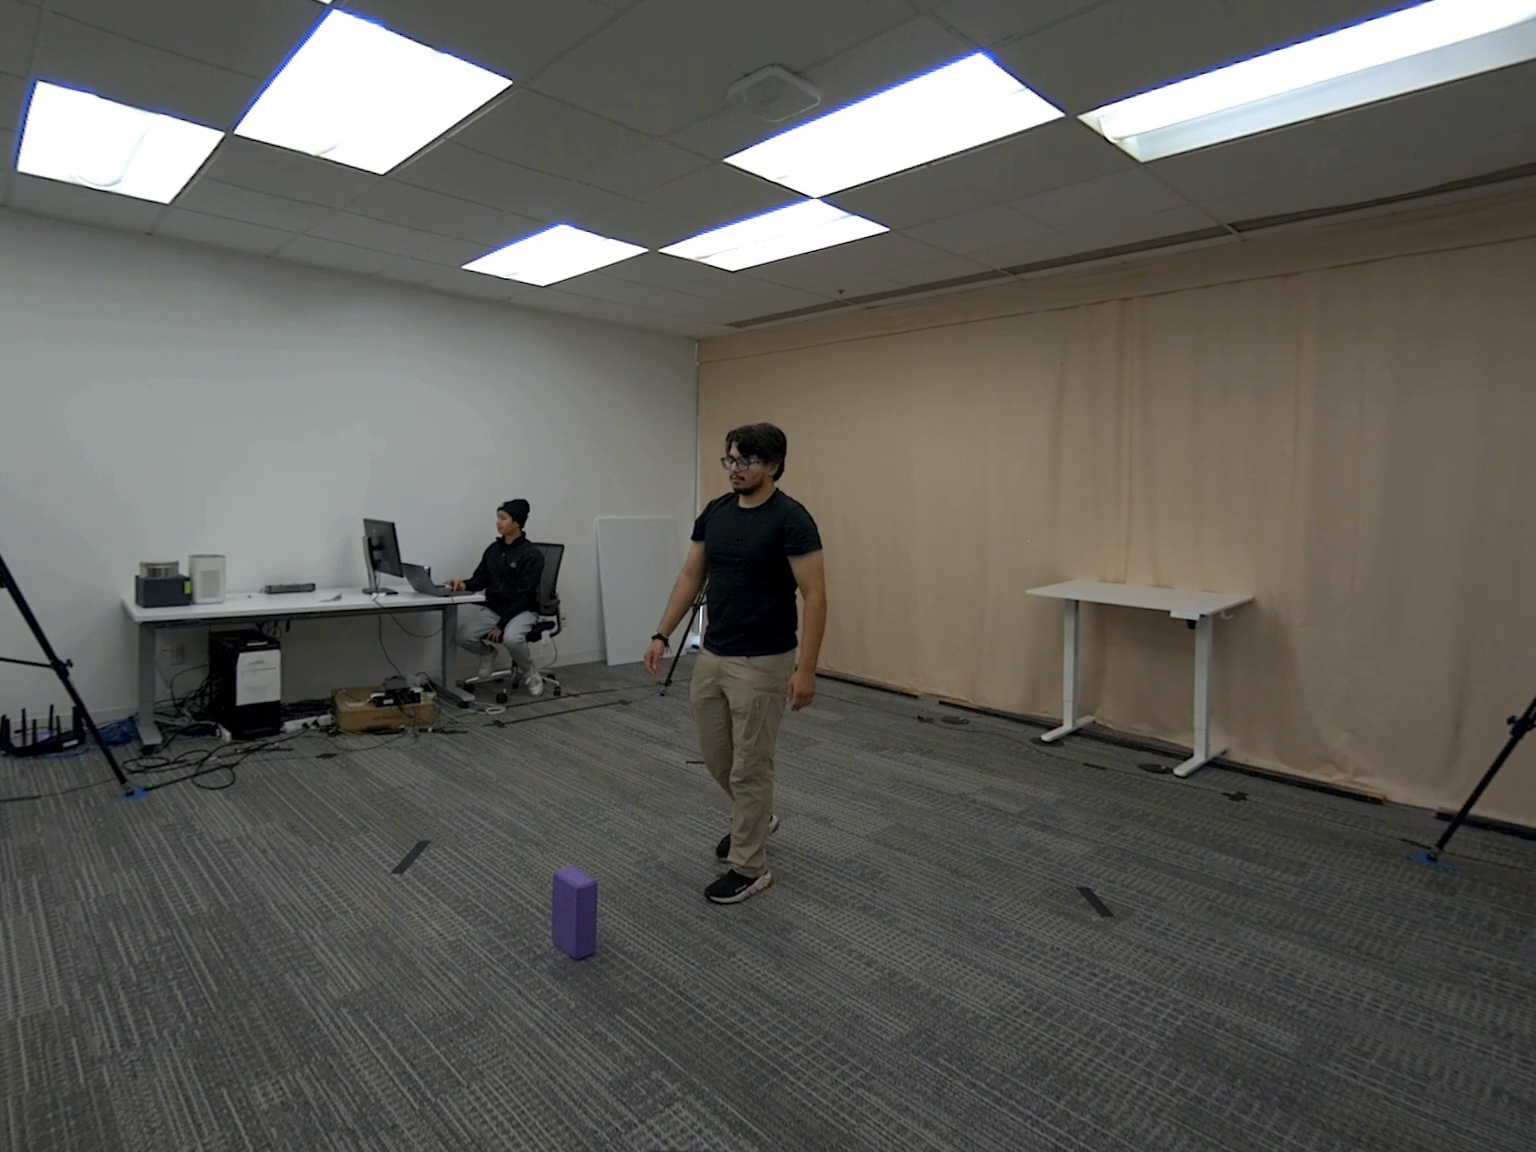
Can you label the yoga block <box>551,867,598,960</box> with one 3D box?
[{"bbox_3d":[-0.600,1.031,2.572,0.074,0.229,0.153,-1,4,-45],"label":"yoga block"}]
